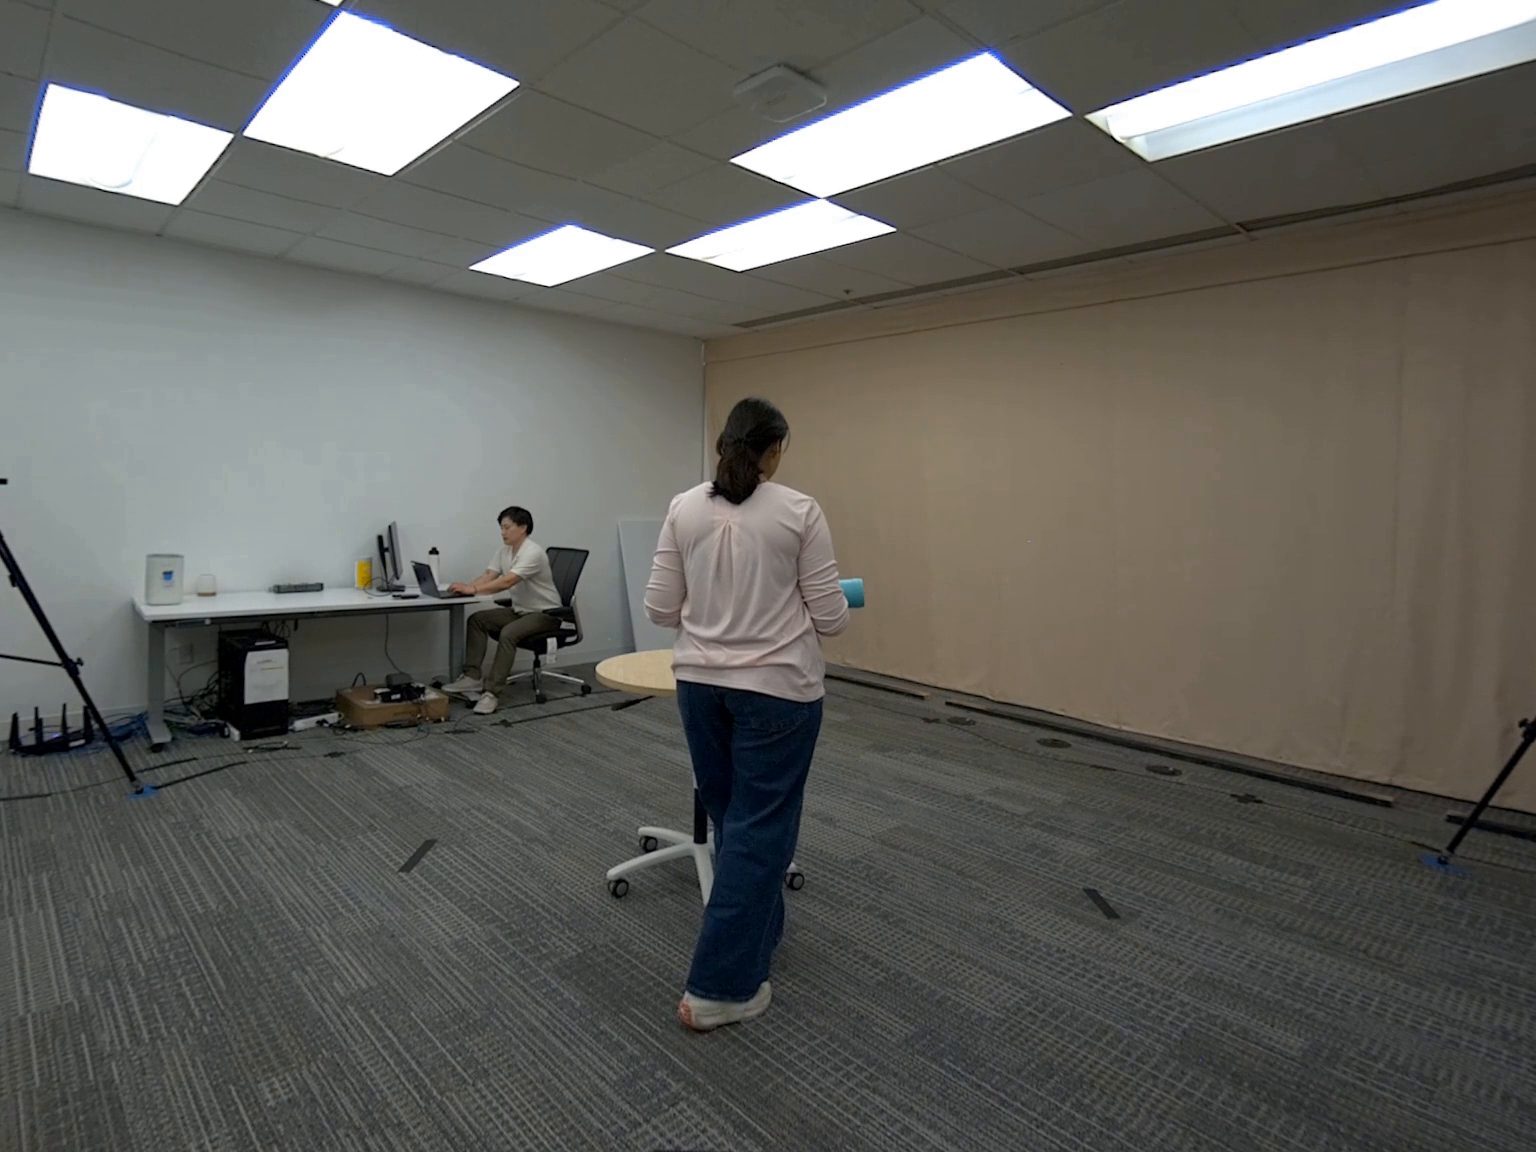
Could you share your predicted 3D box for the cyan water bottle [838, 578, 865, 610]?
[{"bbox_3d":[0.153,0.066,2.589,0.285,0.092,0.092,-4,4,7],"label":"cyan water bottle"}]
